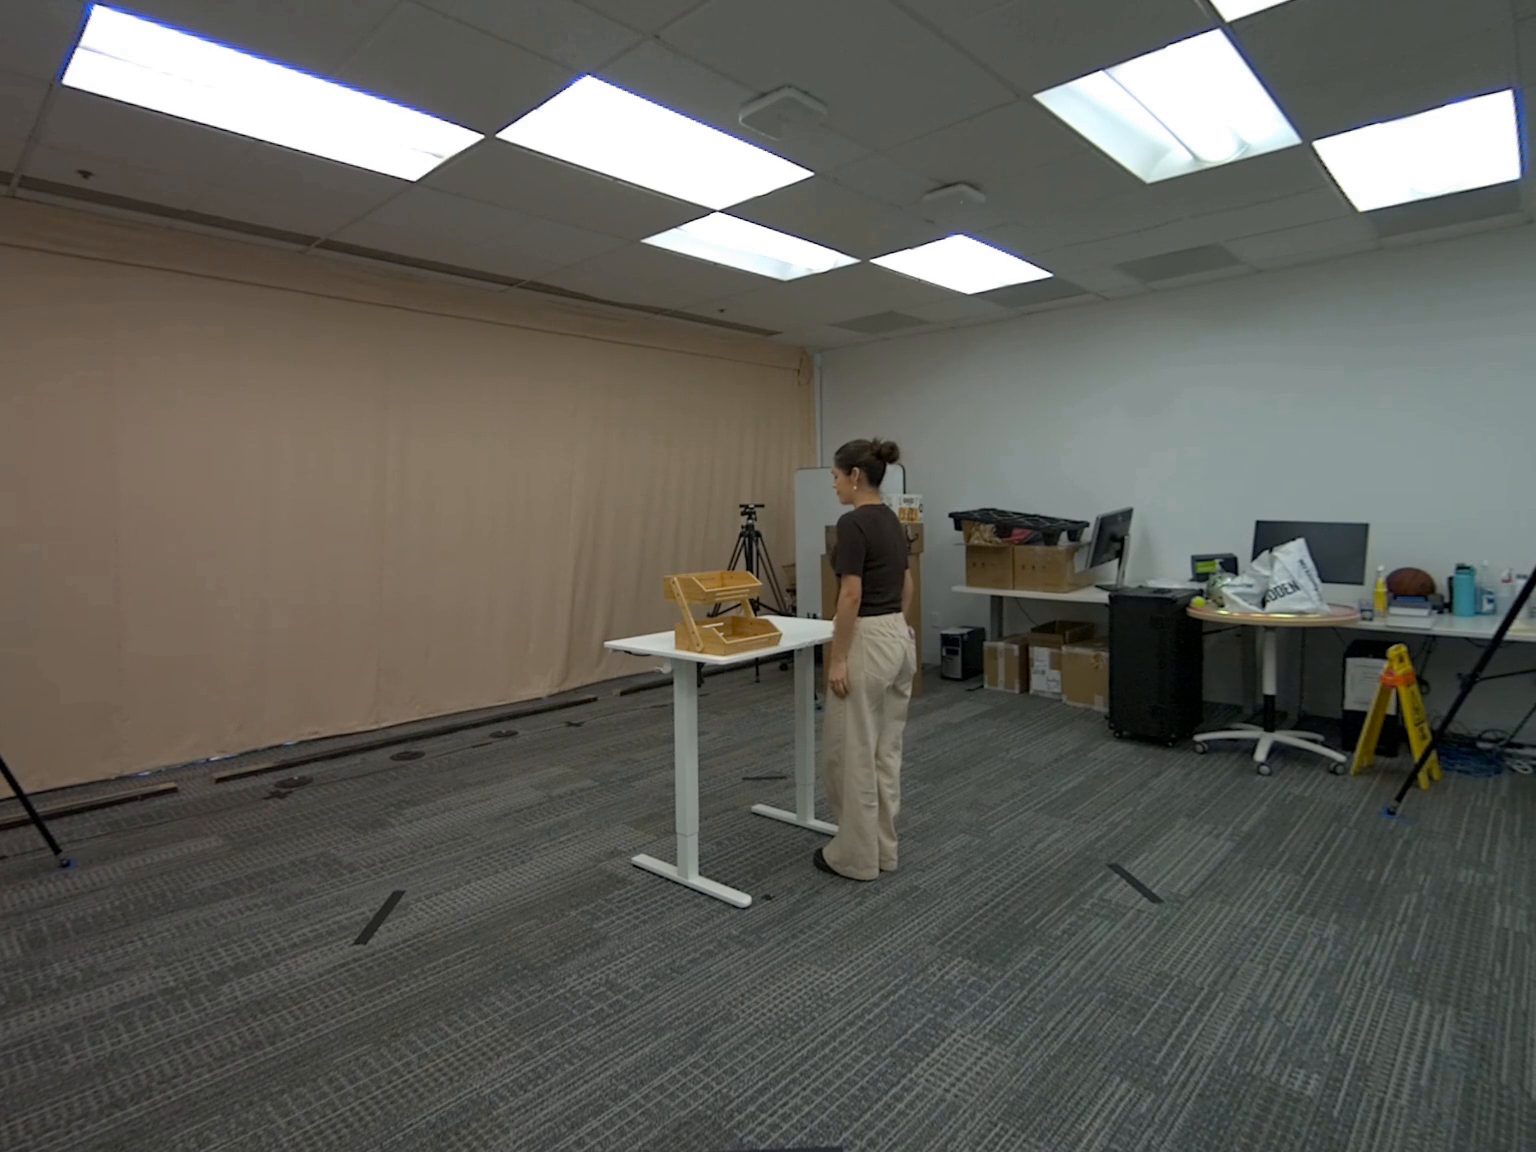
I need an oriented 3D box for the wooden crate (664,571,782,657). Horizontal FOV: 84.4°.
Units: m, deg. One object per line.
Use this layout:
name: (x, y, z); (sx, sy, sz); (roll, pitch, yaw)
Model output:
wooden crate: (-0.156, 0.124, 3.031); (0.312, 0.273, 0.314); (1, 4, 43)
